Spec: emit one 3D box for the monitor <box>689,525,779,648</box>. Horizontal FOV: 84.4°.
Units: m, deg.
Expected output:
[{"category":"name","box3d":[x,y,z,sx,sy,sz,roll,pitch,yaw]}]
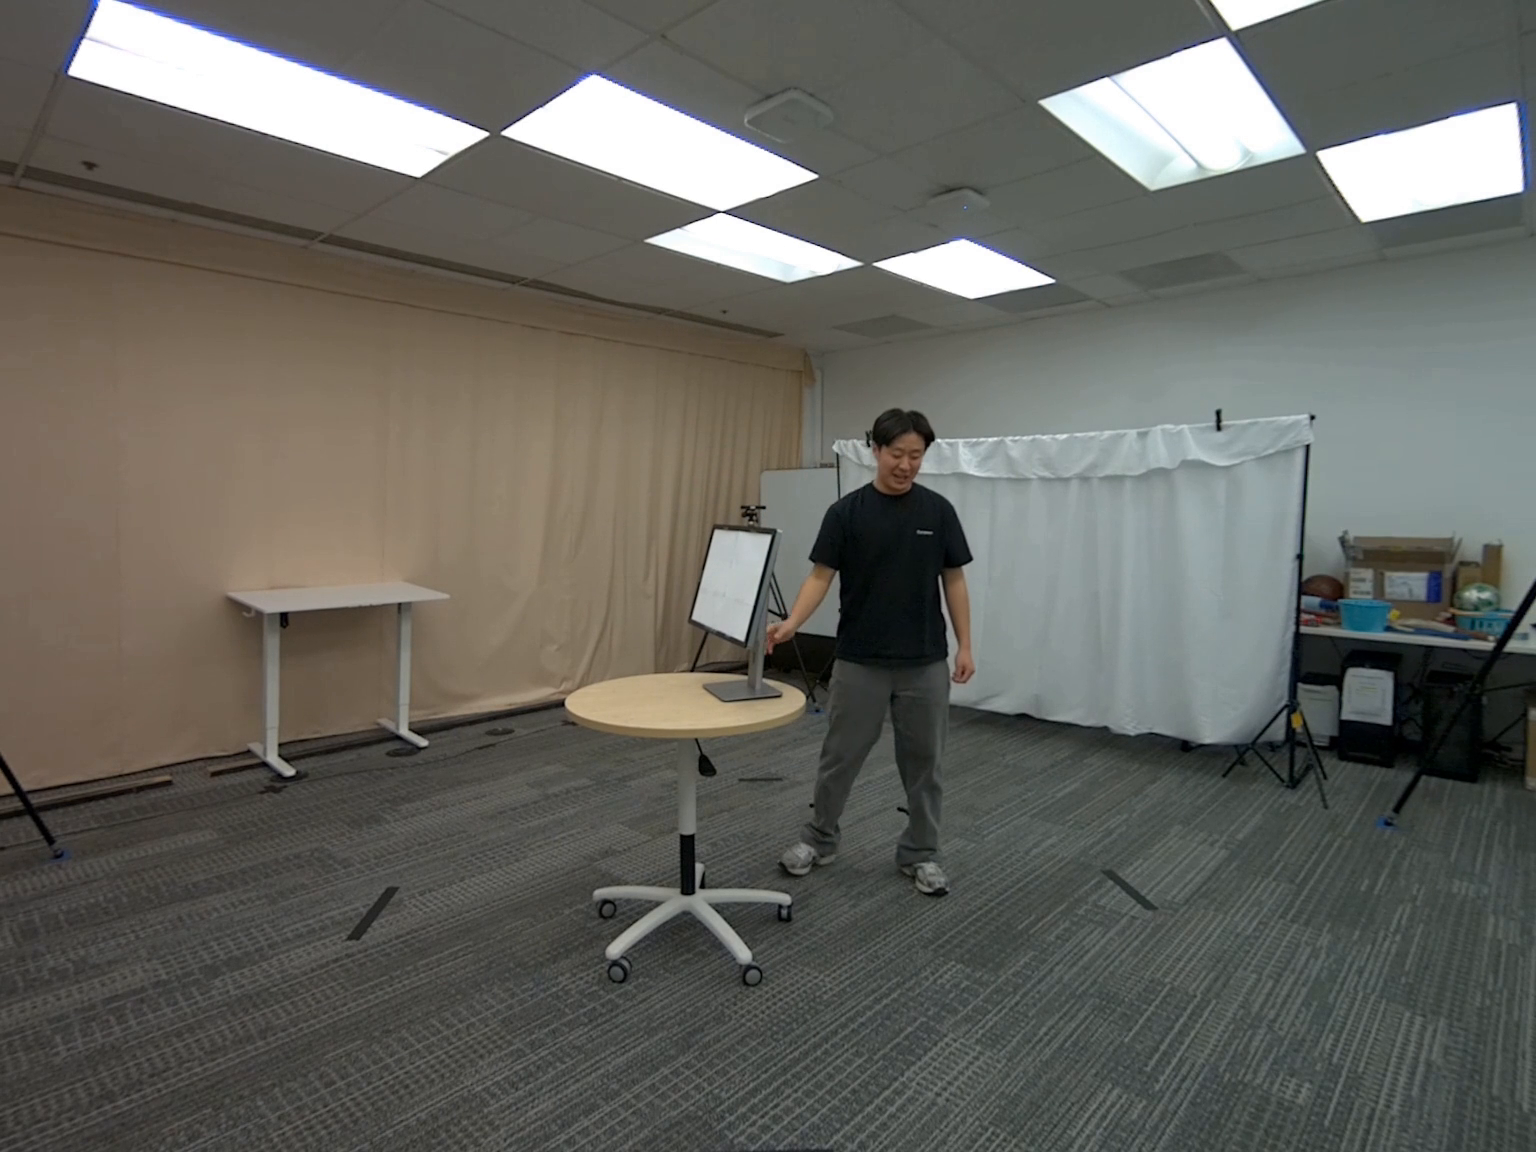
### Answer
[{"category":"monitor","box3d":[-0.089,0.119,2.751,0.218,0.565,0.573,-2,4,-19]}]
